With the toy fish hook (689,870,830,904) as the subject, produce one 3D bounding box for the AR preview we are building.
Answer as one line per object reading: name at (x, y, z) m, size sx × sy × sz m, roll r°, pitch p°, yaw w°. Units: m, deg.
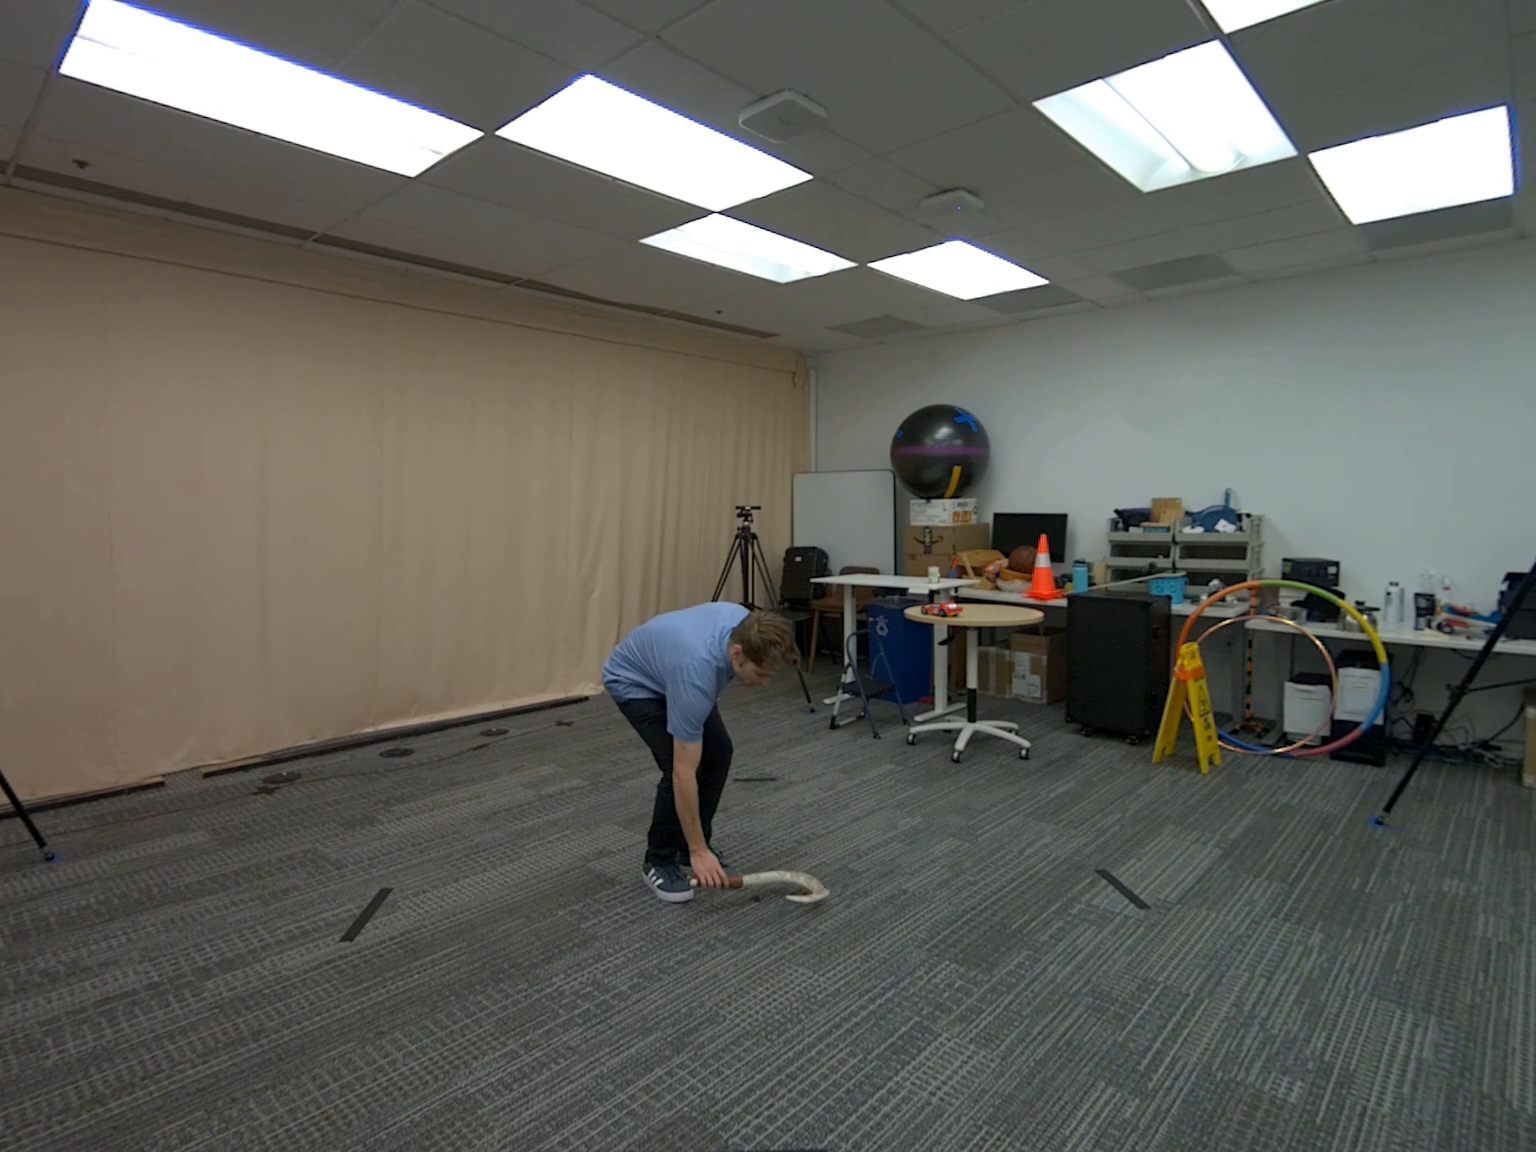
toy fish hook at (-0.025, 1.058, 2.873) m, size 0.494 × 0.048 × 0.230 m, roll 8°, pitch -3°, yaw -24°
